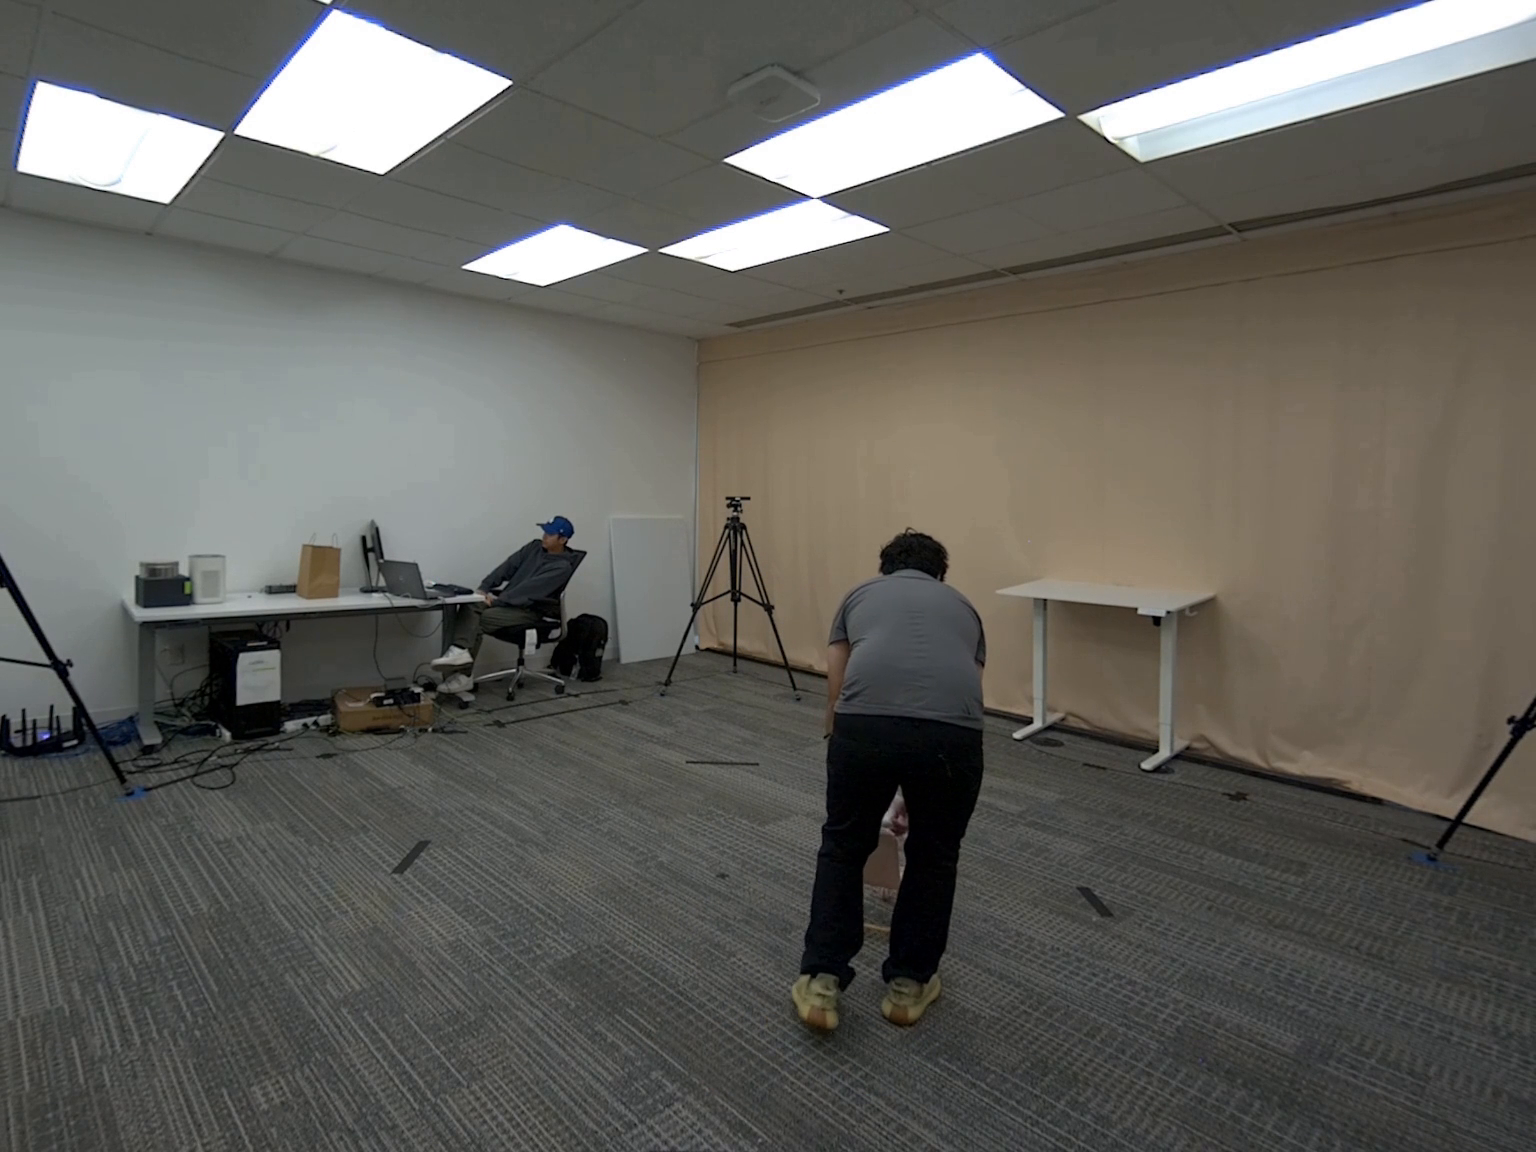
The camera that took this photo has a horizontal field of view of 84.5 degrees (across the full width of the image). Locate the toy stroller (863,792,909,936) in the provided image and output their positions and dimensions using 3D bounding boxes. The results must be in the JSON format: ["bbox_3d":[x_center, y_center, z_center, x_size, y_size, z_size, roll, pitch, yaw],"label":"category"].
[{"bbox_3d":[0.358,0.924,2.761,0.287,0.527,0.340,4,20,23],"label":"toy stroller"}]
